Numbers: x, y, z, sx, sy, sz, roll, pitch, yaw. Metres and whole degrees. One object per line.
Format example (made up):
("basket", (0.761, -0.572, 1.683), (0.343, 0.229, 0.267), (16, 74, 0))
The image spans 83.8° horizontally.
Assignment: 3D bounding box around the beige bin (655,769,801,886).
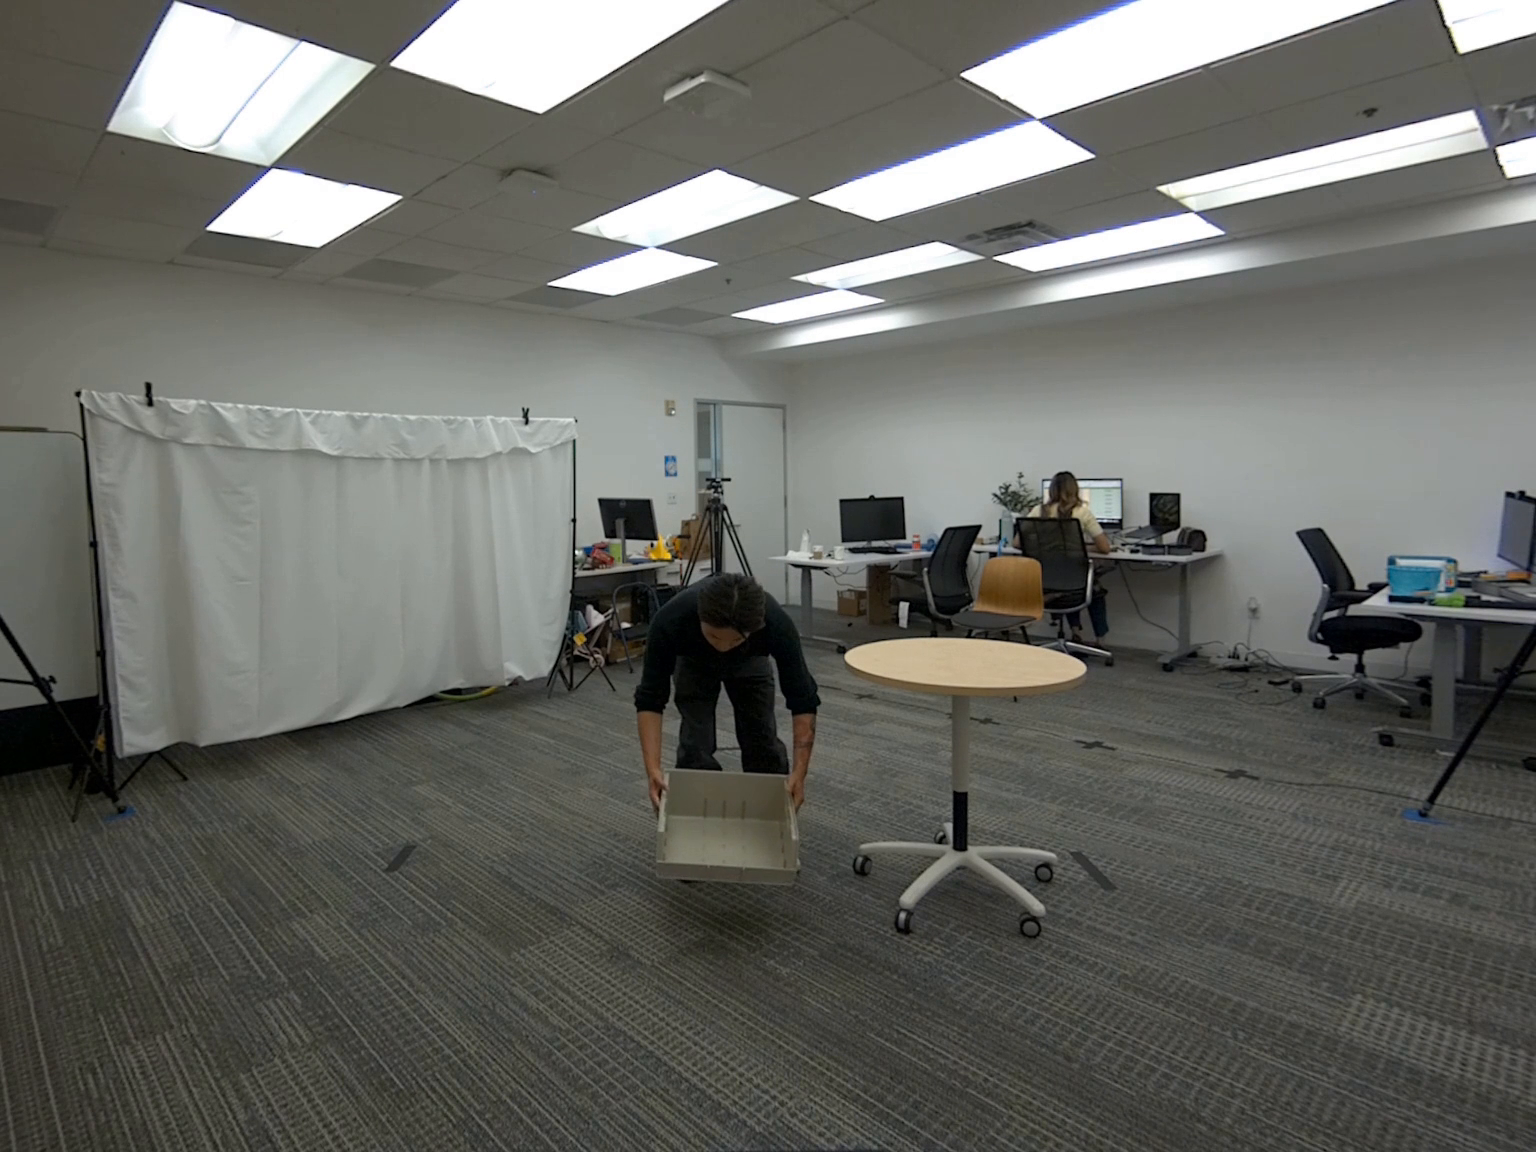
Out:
("beige bin", (-0.129, 0.818, 2.690), (0.421, 0.186, 0.383), (-1, 16, -3))
